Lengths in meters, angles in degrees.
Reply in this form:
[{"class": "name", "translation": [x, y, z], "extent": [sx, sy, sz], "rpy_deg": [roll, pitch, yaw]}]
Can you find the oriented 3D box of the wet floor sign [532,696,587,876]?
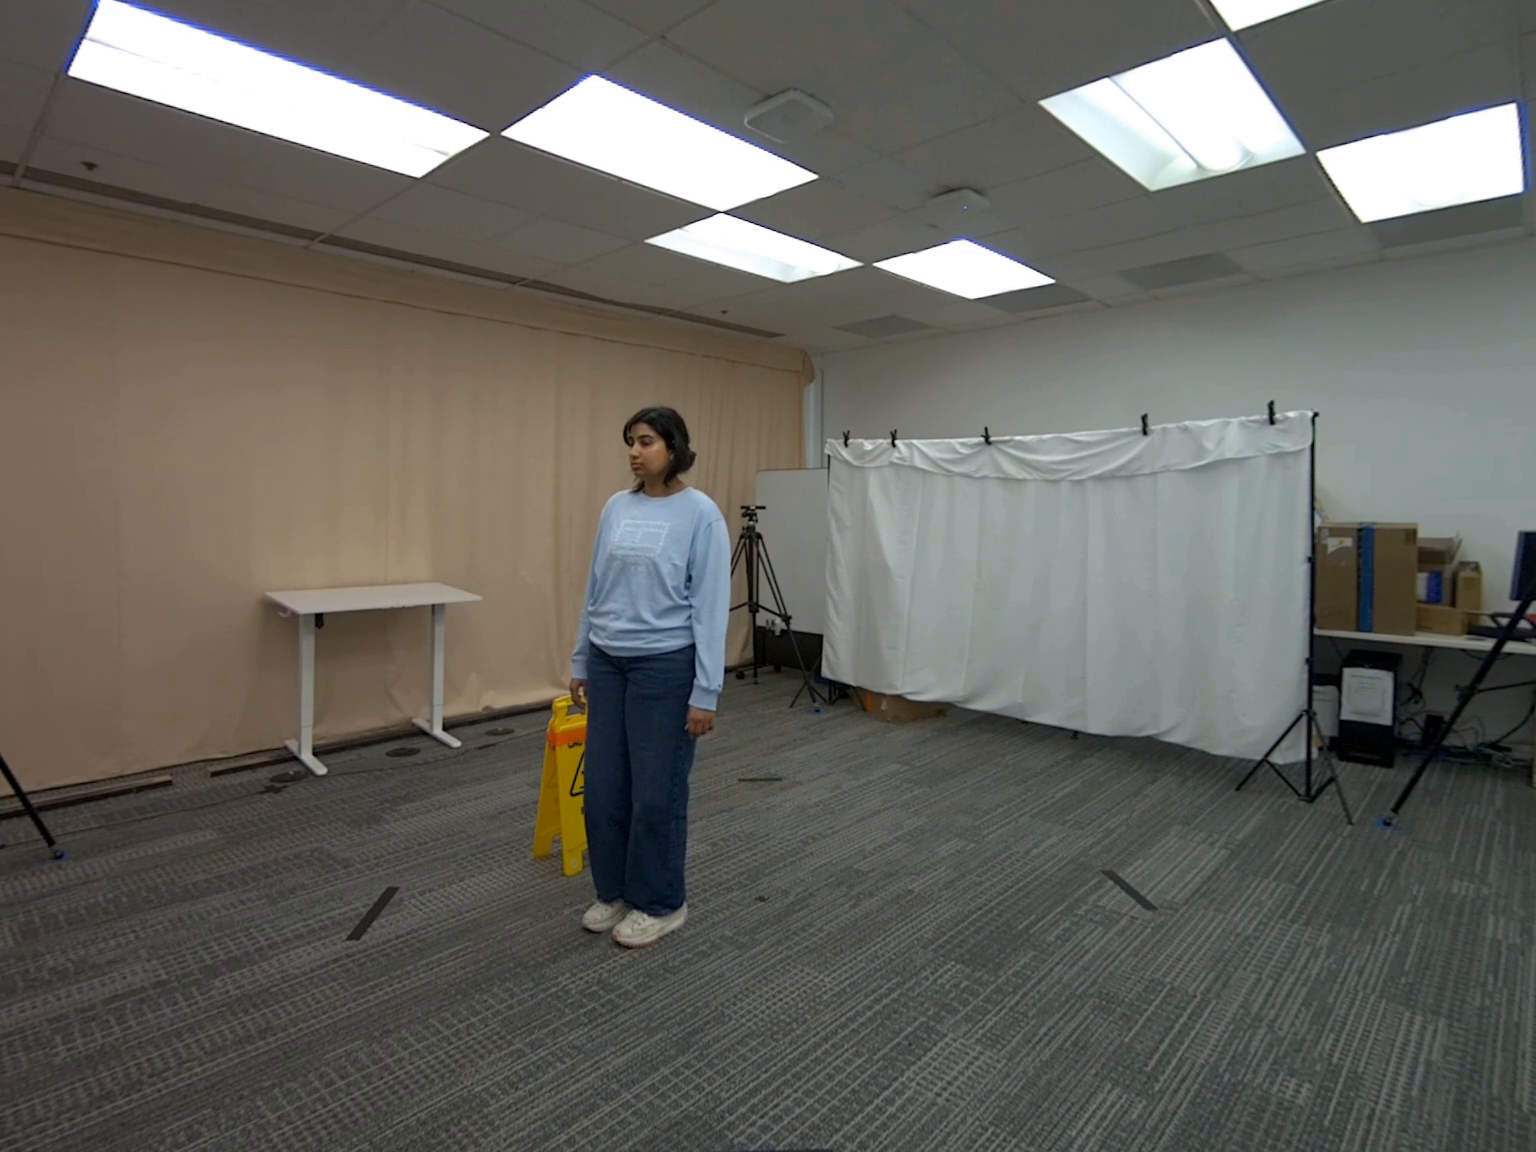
[{"class": "wet floor sign", "translation": [-0.761, 0.796, 3.337], "extent": [0.299, 0.645, 0.273], "rpy_deg": [2, 3, 45]}]
